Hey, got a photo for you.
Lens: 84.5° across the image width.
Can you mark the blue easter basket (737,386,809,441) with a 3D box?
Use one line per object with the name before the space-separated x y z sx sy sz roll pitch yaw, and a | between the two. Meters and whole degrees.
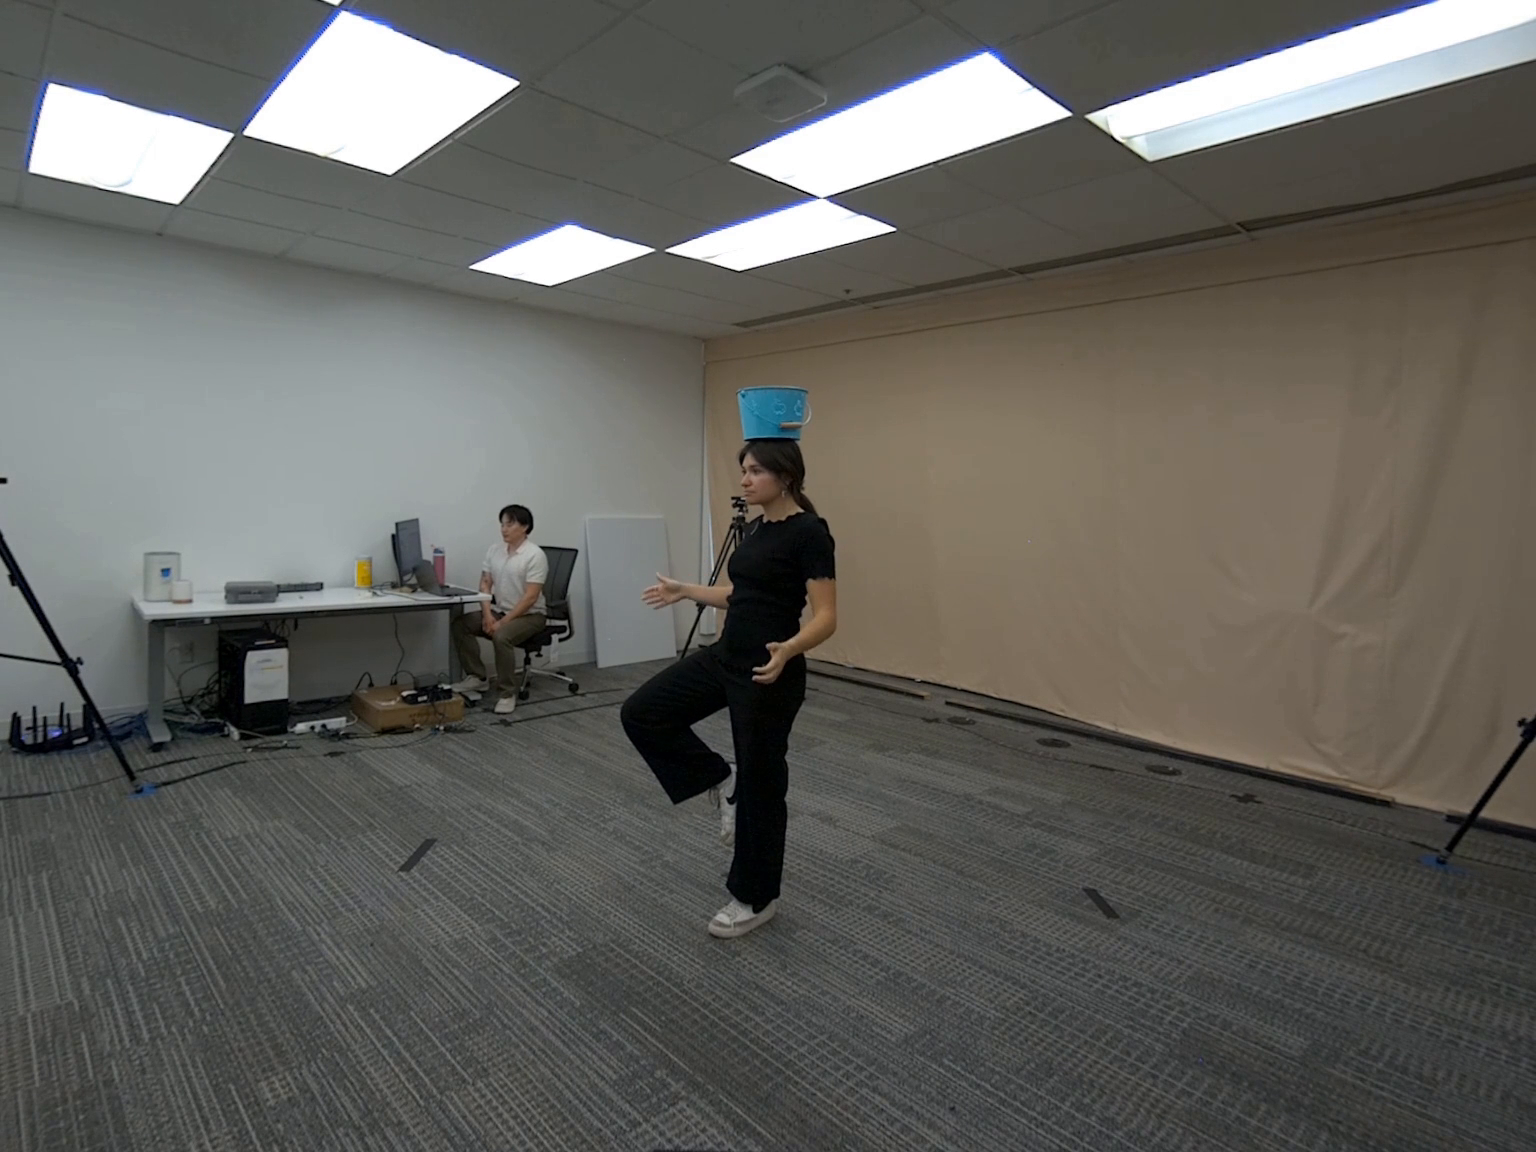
blue easter basket | 0.014 -0.508 2.660 0.243 0.155 0.244 0 3 -1
